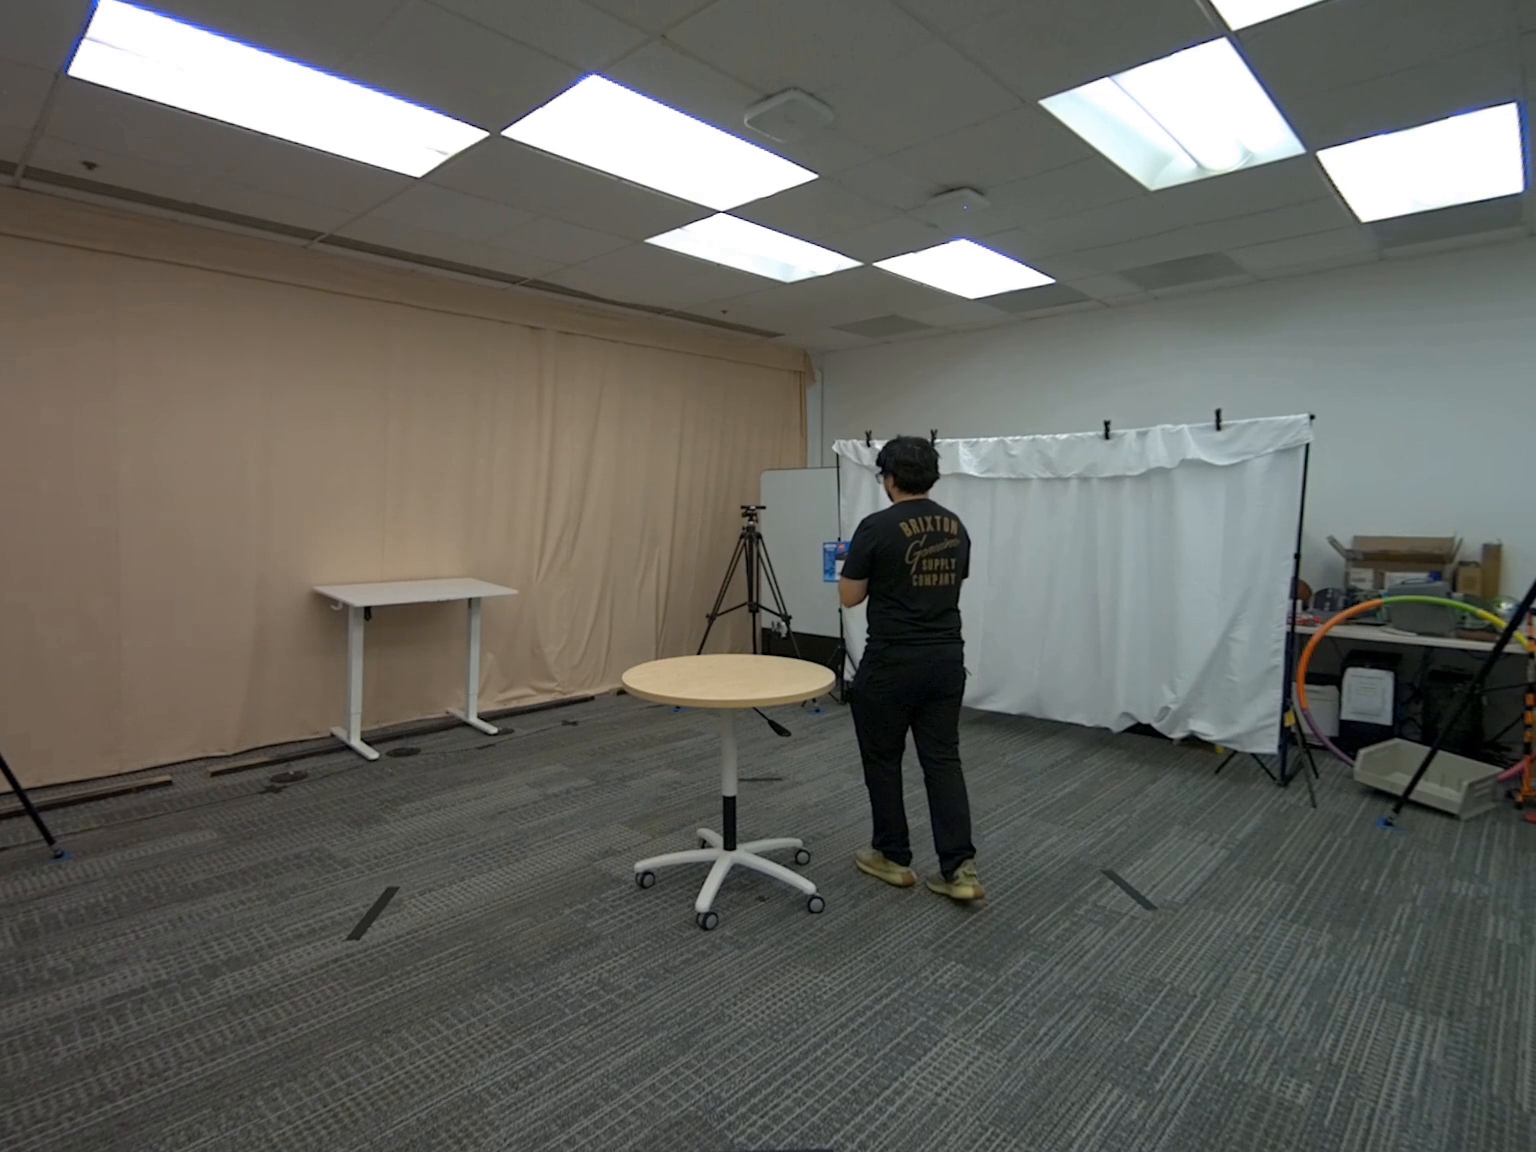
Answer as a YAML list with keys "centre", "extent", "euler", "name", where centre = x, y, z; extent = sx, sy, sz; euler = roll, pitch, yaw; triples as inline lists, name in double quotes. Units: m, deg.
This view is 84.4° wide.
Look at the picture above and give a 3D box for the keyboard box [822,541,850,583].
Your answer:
- centre: [0.380, -0.056, 3.492]
  extent: [0.057, 0.176, 0.448]
  euler: [1, 0, -29]
  name: "keyboard box"
